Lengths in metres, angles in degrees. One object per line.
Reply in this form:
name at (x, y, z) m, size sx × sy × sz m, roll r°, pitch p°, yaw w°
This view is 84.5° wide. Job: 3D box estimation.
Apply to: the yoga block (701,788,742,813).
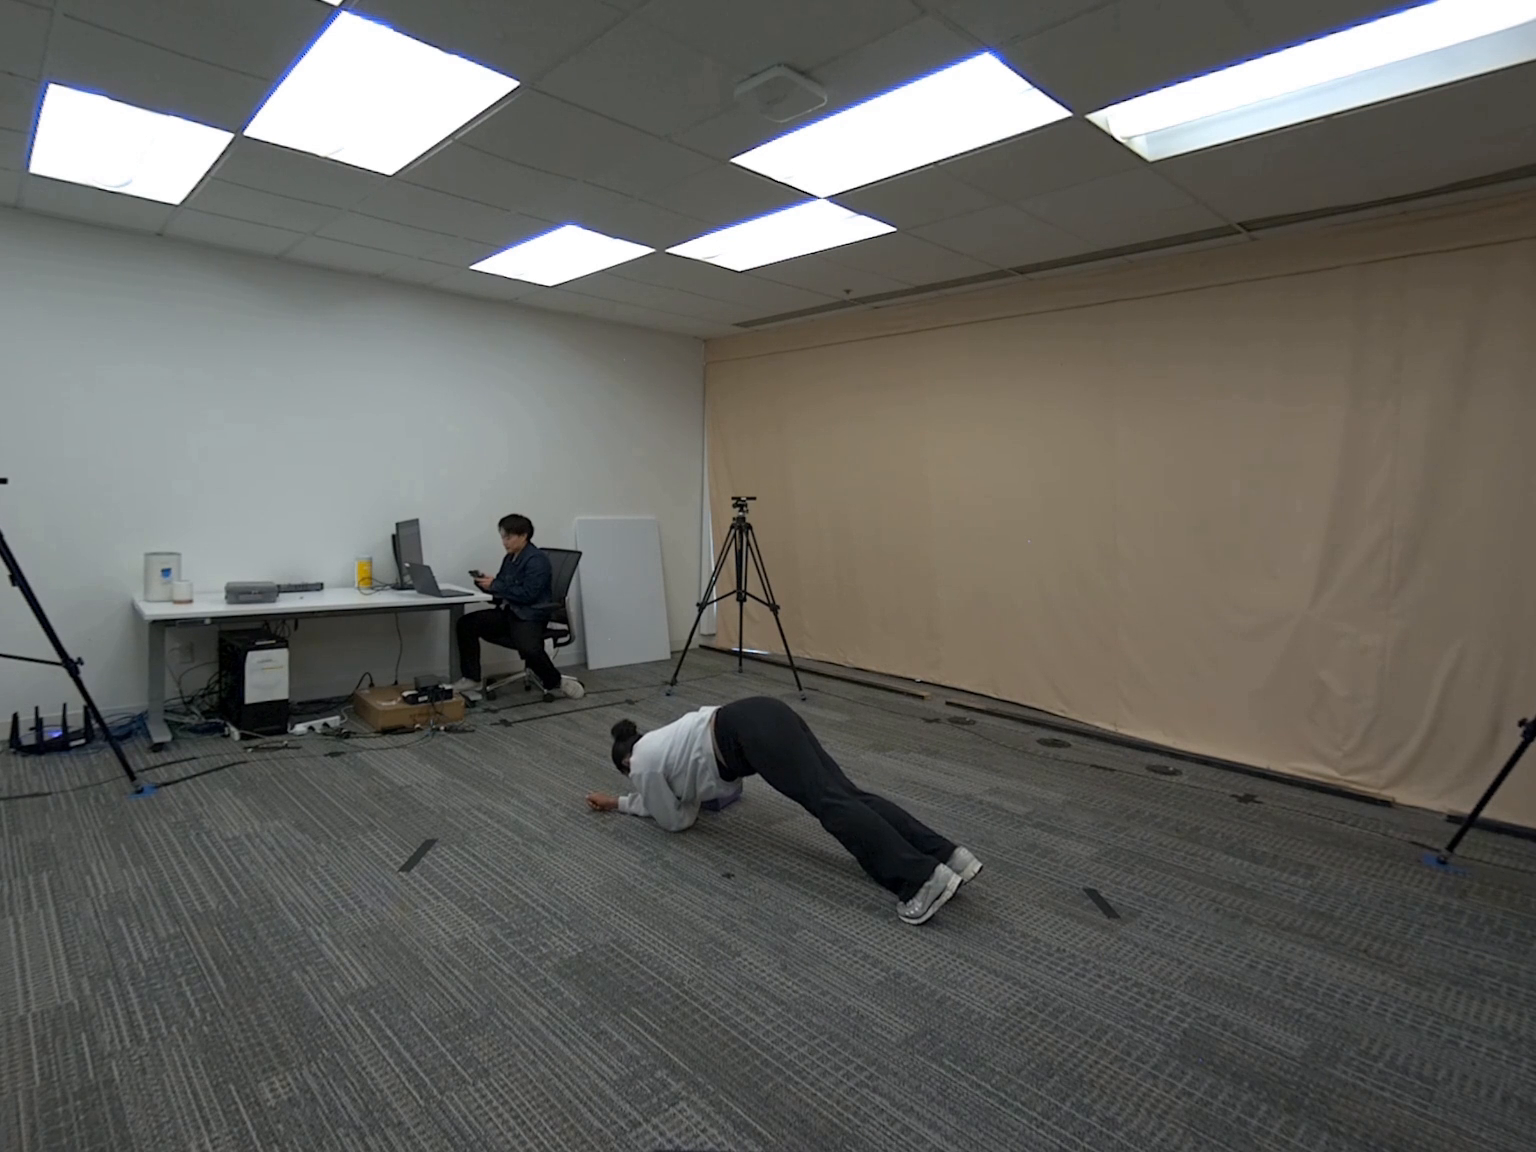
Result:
yoga block at (-0.239, 0.995, 3.863) m, size 0.152 × 0.076 × 0.226 m, roll 2°, pitch 10°, yaw 29°
